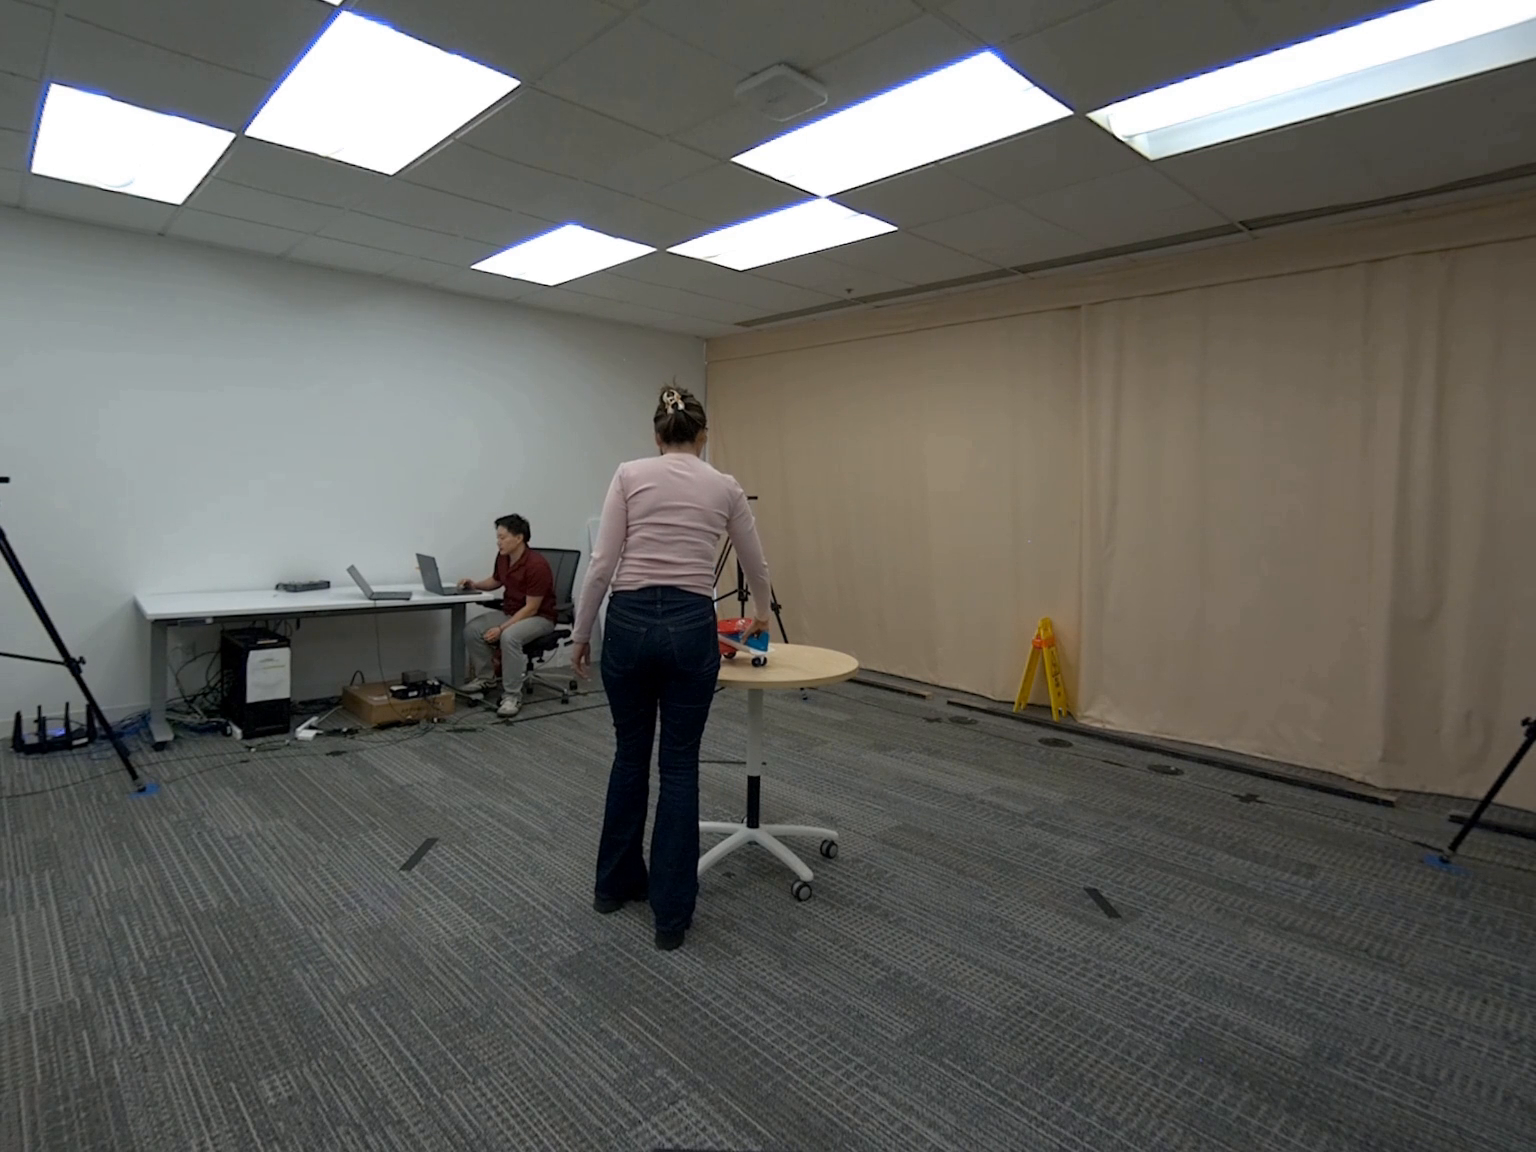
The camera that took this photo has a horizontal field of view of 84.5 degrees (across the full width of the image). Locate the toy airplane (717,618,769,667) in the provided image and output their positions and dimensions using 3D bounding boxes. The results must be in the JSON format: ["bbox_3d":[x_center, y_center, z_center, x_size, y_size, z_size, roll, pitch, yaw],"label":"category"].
[{"bbox_3d":[-0.099,0.243,3.122,0.261,0.156,0.249,1,4,10],"label":"toy airplane"}]
